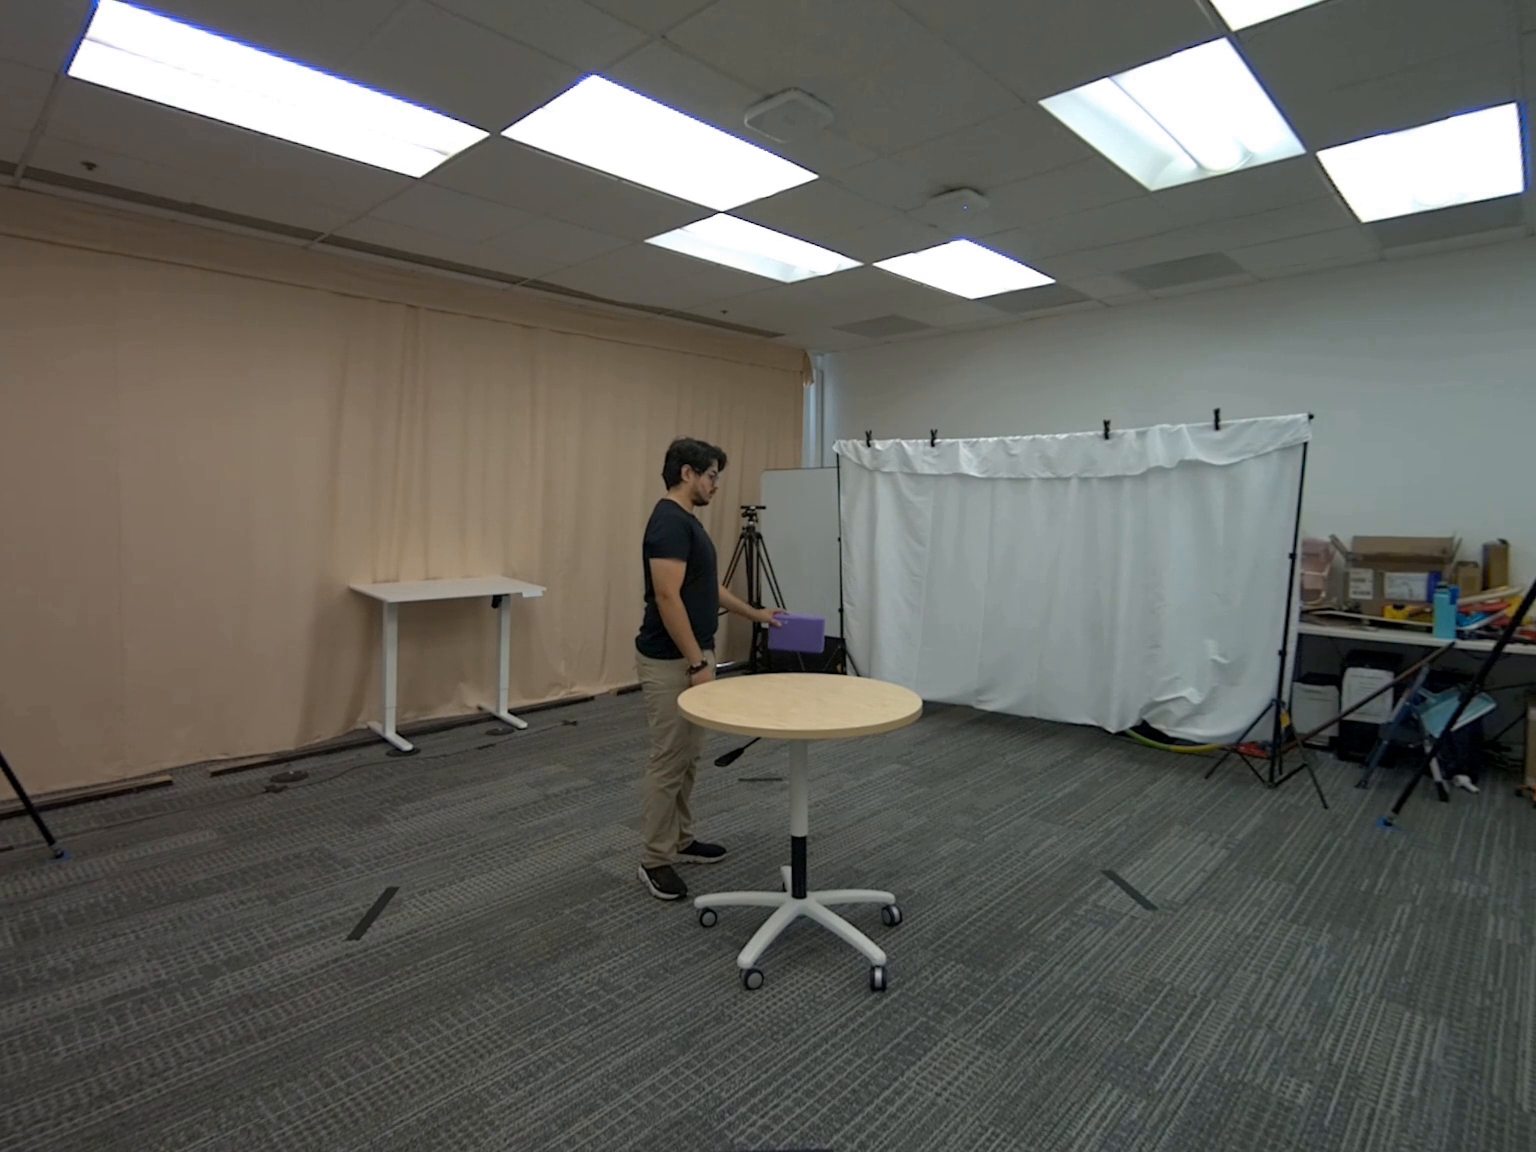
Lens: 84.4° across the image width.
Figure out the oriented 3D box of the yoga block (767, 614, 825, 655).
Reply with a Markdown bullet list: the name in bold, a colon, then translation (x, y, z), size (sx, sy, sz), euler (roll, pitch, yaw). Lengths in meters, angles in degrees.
- **yoga block**: translation (0.117, 0.239, 3.514), size (0.232, 0.149, 0.075), euler (4, 3, 11)
